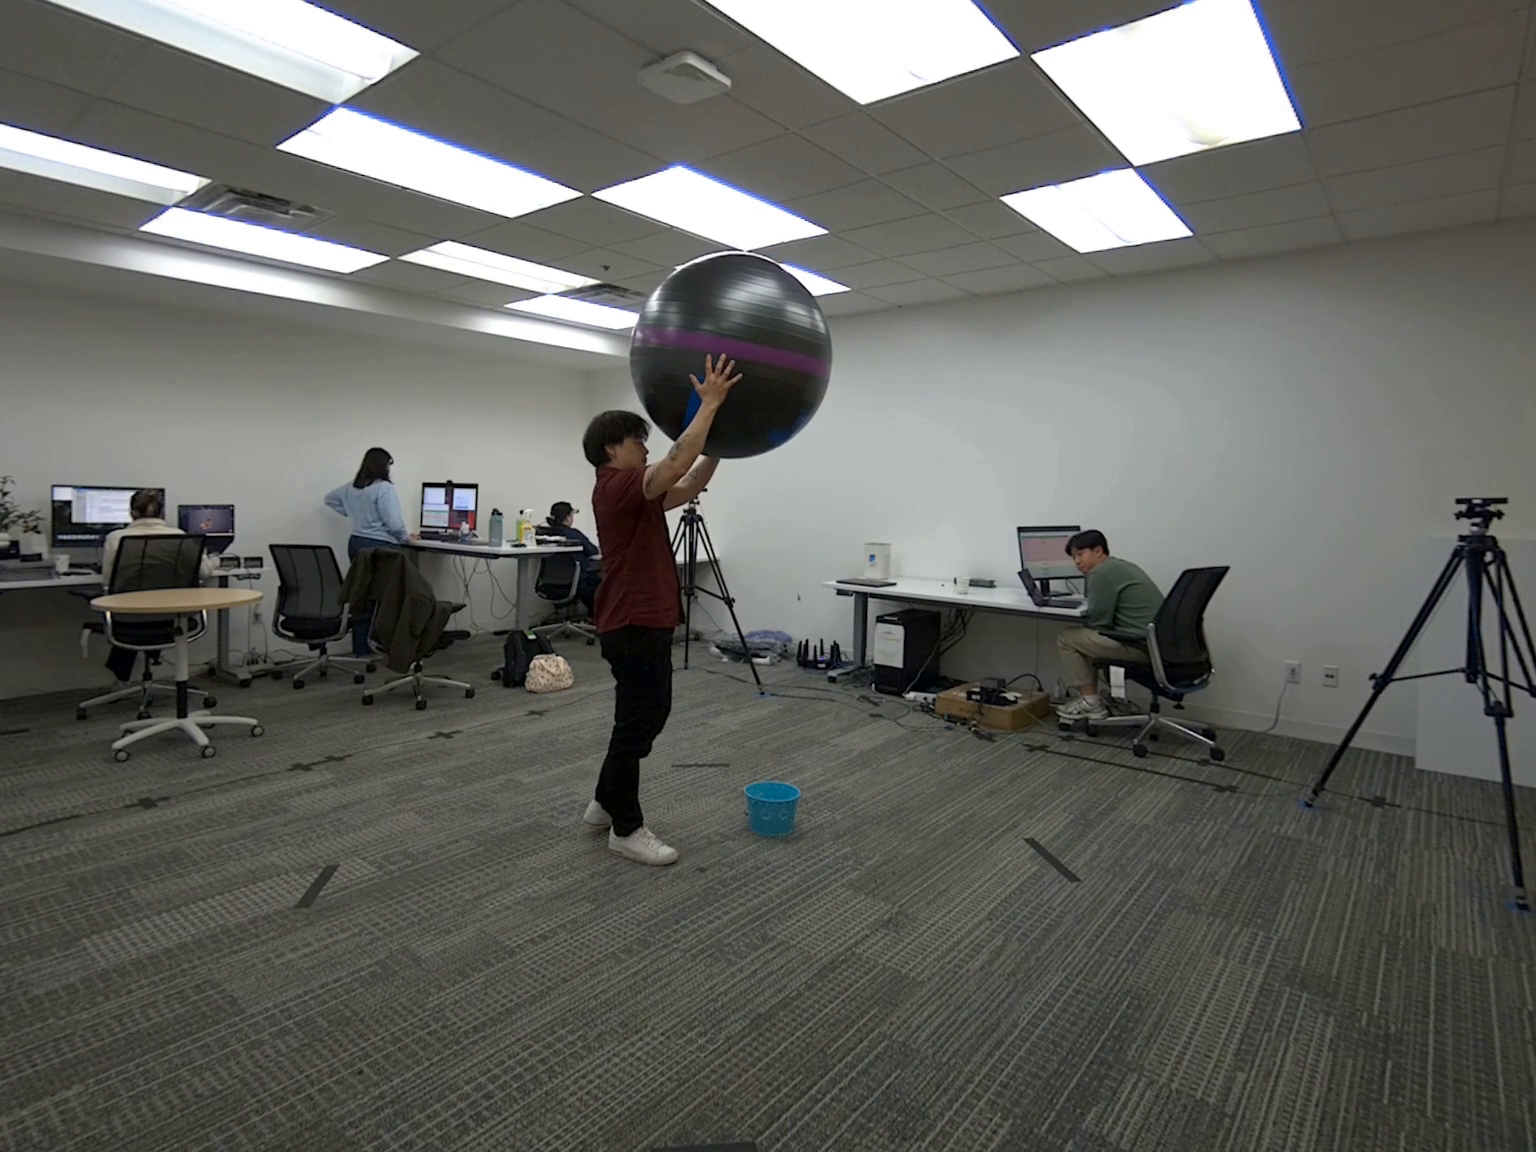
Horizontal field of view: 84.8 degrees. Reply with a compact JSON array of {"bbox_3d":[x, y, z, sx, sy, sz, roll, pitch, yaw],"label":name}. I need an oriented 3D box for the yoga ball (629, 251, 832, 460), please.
[{"bbox_3d":[-0.148,-0.825,3.219,0.757,0.755,0.762,1,4,-2],"label":"yoga ball"}]
